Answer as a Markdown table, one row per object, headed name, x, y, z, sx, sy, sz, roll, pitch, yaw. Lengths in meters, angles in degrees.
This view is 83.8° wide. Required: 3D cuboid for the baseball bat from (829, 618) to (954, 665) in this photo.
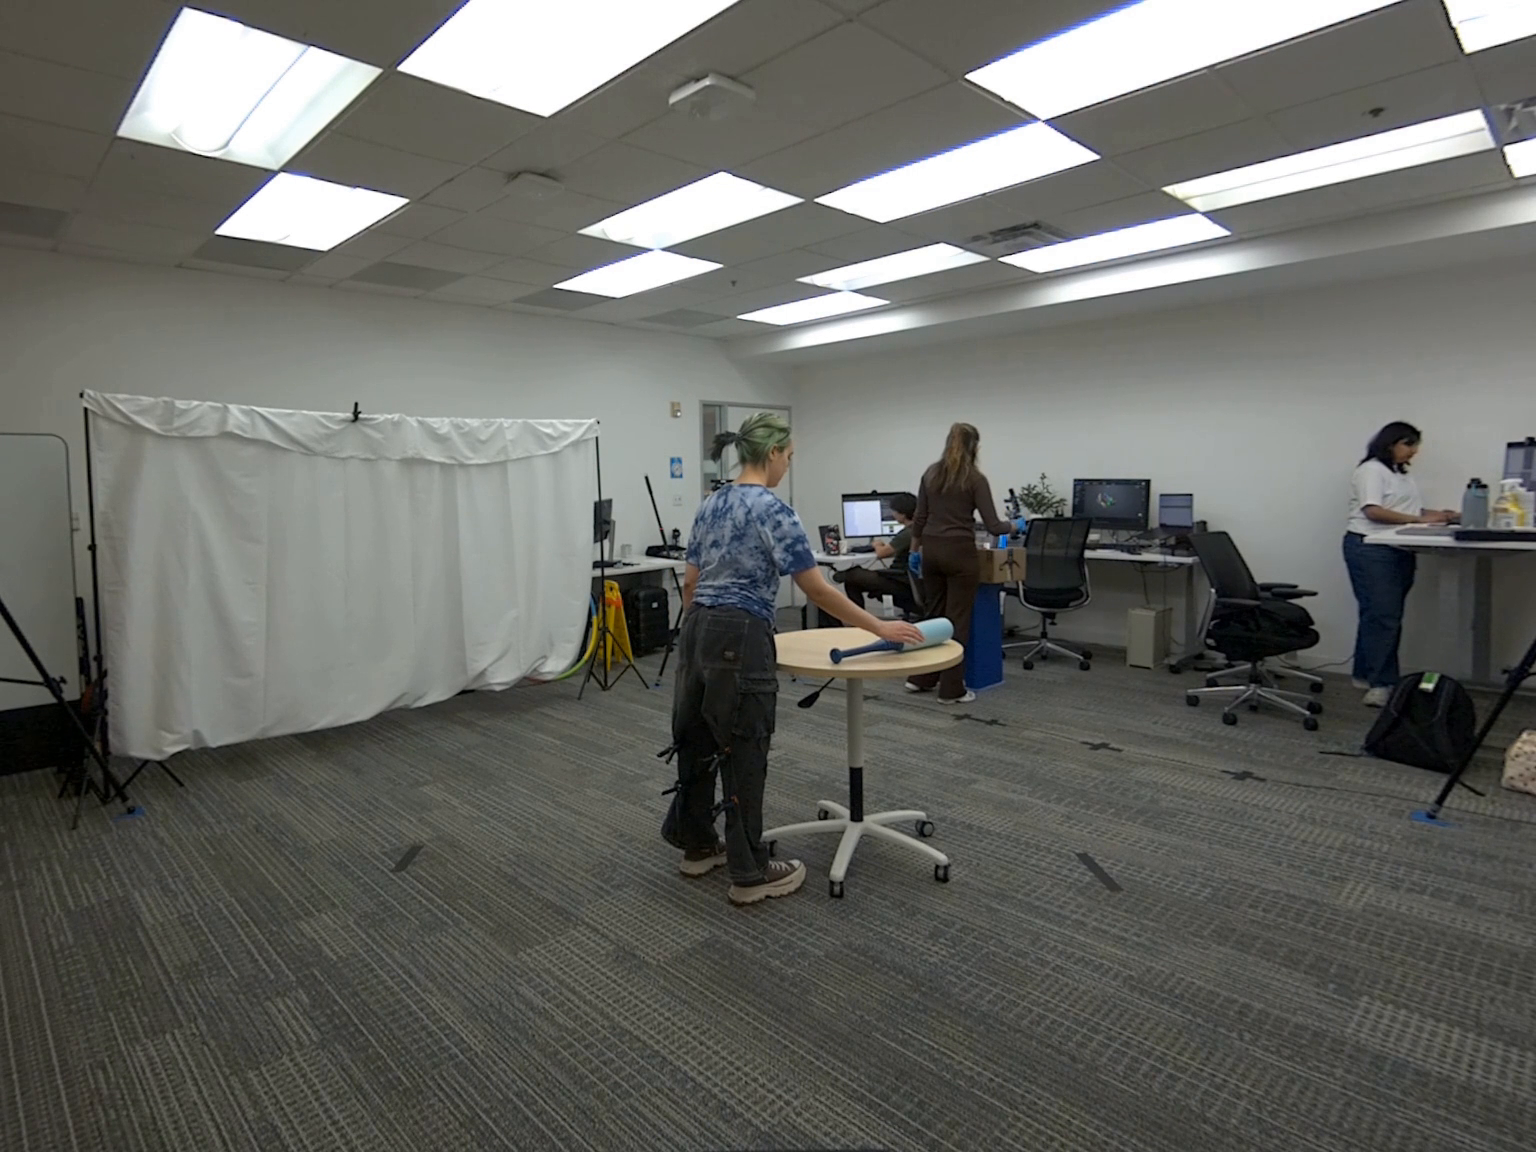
| name | x | y | z | sx | sy | sz | roll | pitch | yaw |
| --- | --- | --- | --- | --- | --- | --- | --- | --- | --- |
| baseball bat | 0.433 | 0.235 | 2.959 | 0.531 | 0.088 | 0.091 | -11 | 9 | -33 |
